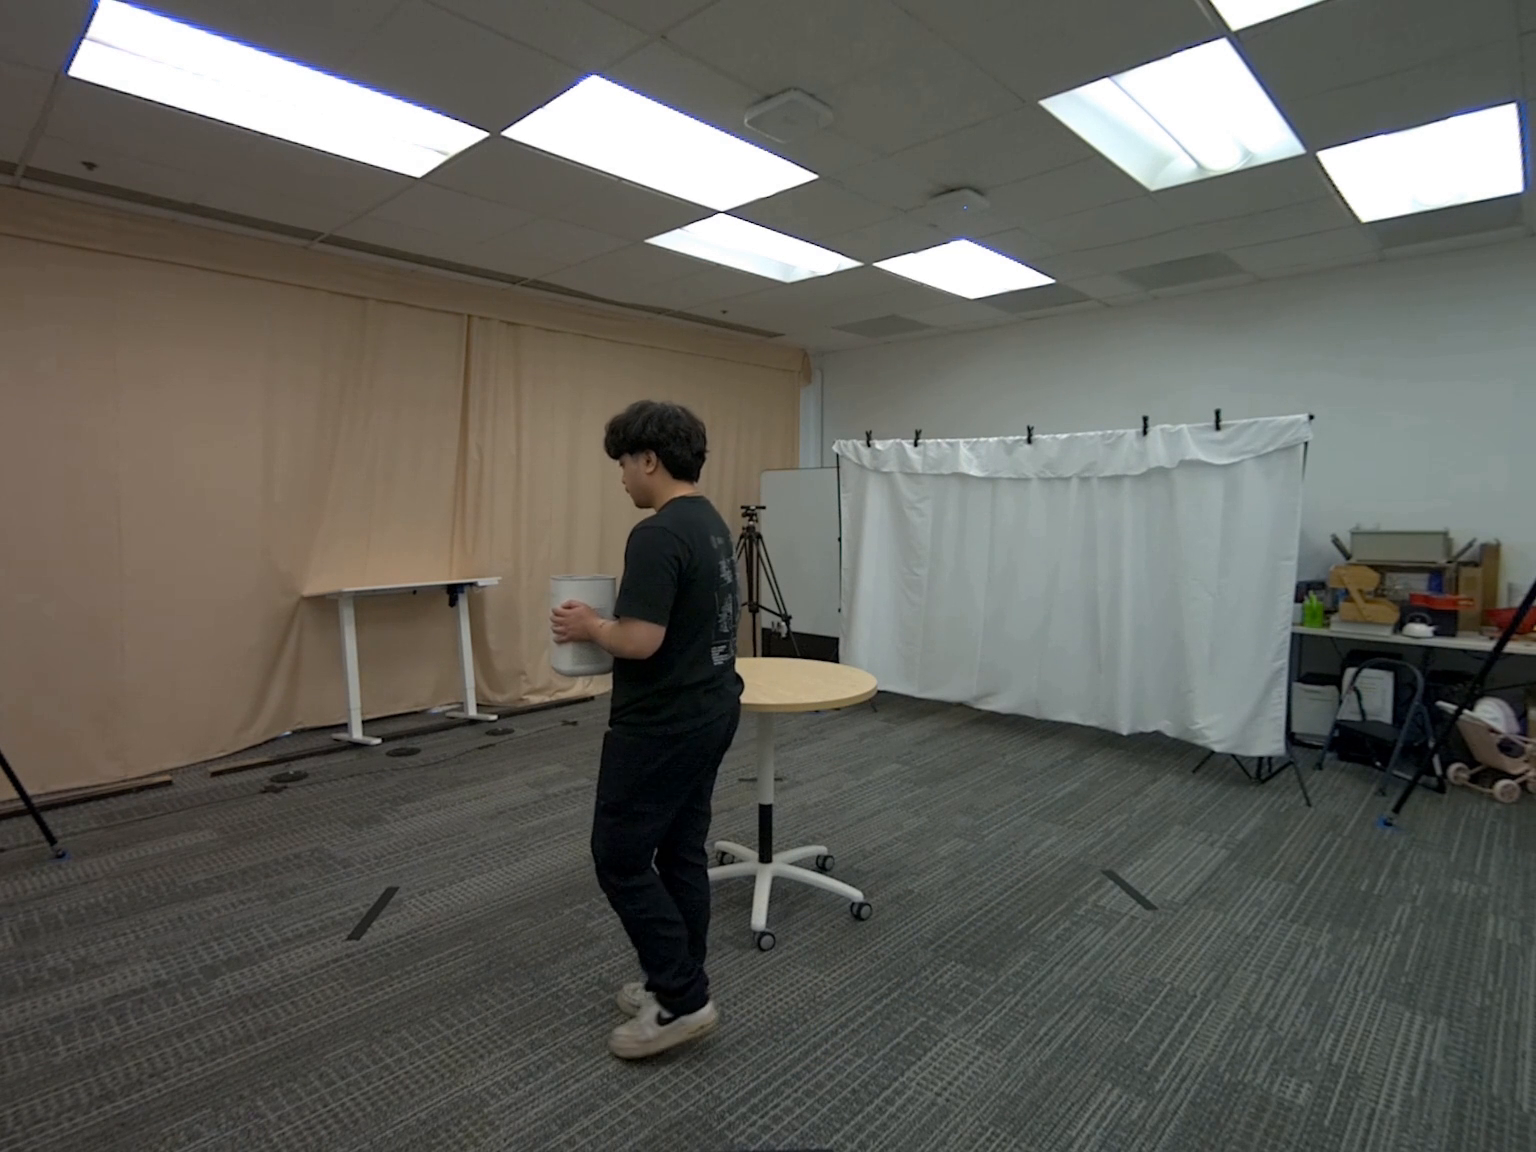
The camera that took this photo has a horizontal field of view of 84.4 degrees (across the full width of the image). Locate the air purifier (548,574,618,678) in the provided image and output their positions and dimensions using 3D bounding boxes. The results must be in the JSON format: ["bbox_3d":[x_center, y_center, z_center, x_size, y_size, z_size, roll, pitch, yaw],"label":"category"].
[{"bbox_3d":[-0.495,0.137,2.322,0.167,0.265,0.175,0,1,-27],"label":"air purifier"}]
